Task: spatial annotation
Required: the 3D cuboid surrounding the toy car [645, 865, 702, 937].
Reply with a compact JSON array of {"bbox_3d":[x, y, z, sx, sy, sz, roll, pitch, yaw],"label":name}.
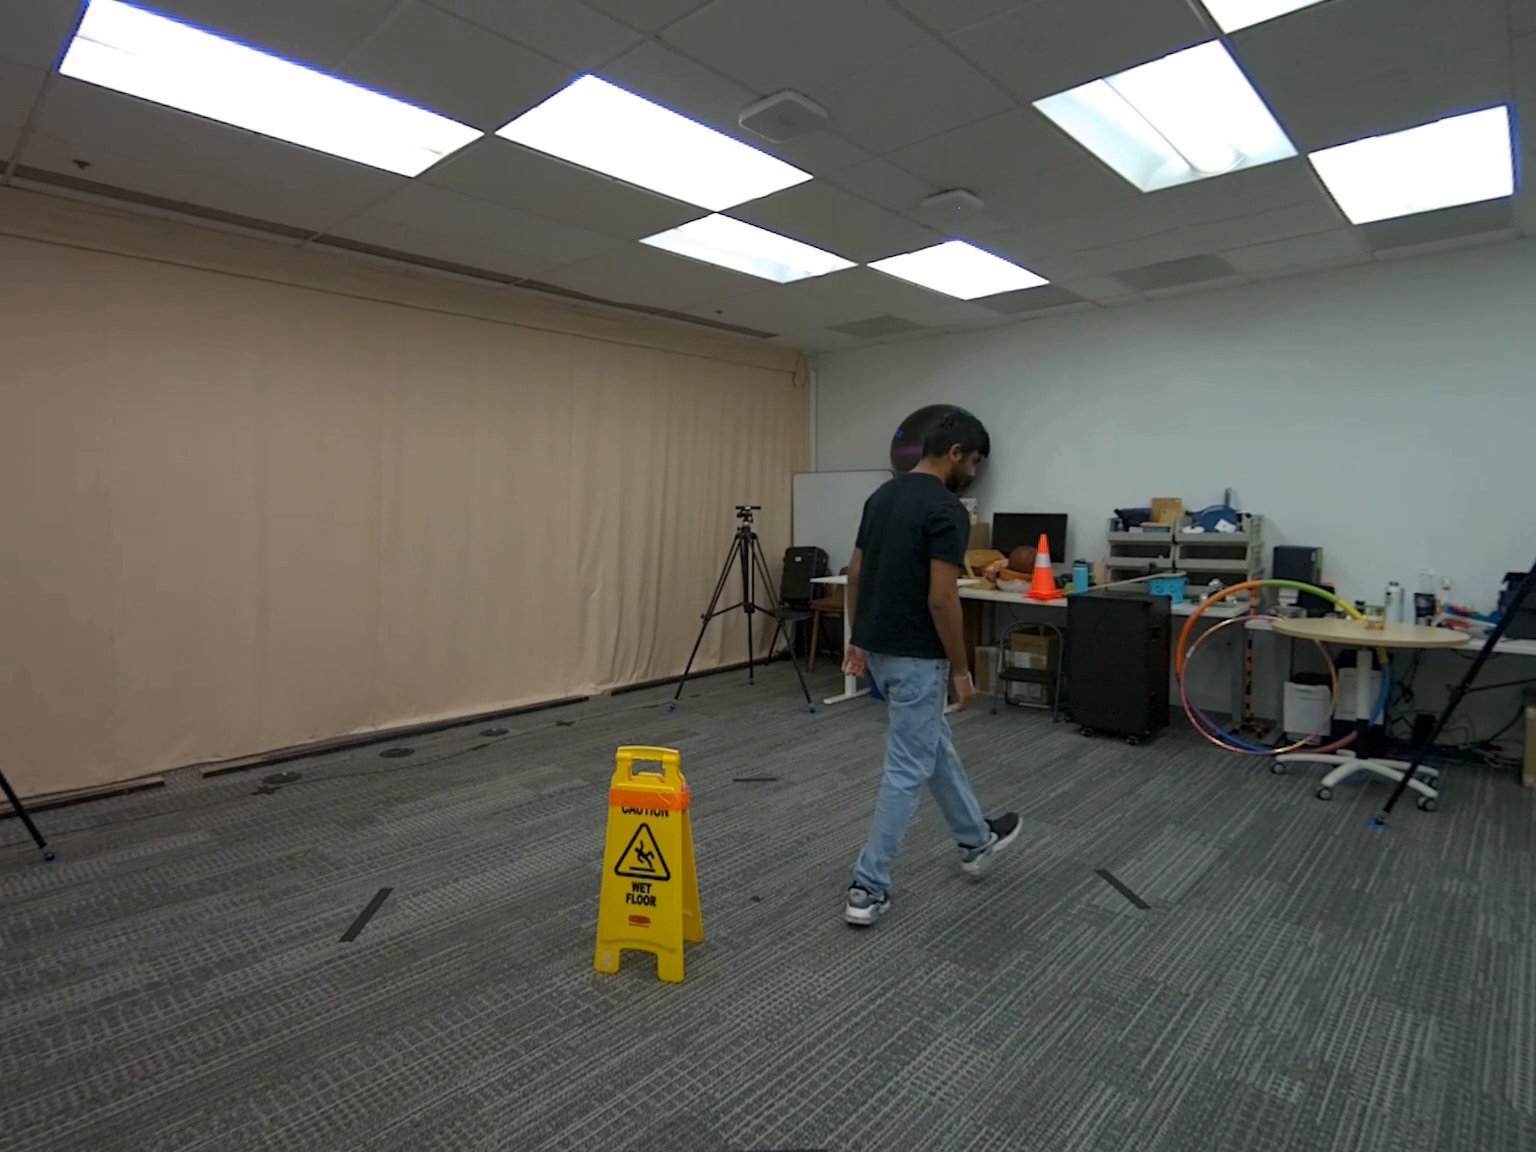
[{"bbox_3d":[-0.327,1.123,2.946,0.132,0.082,0.254,0,16,9],"label":"toy car"}]
